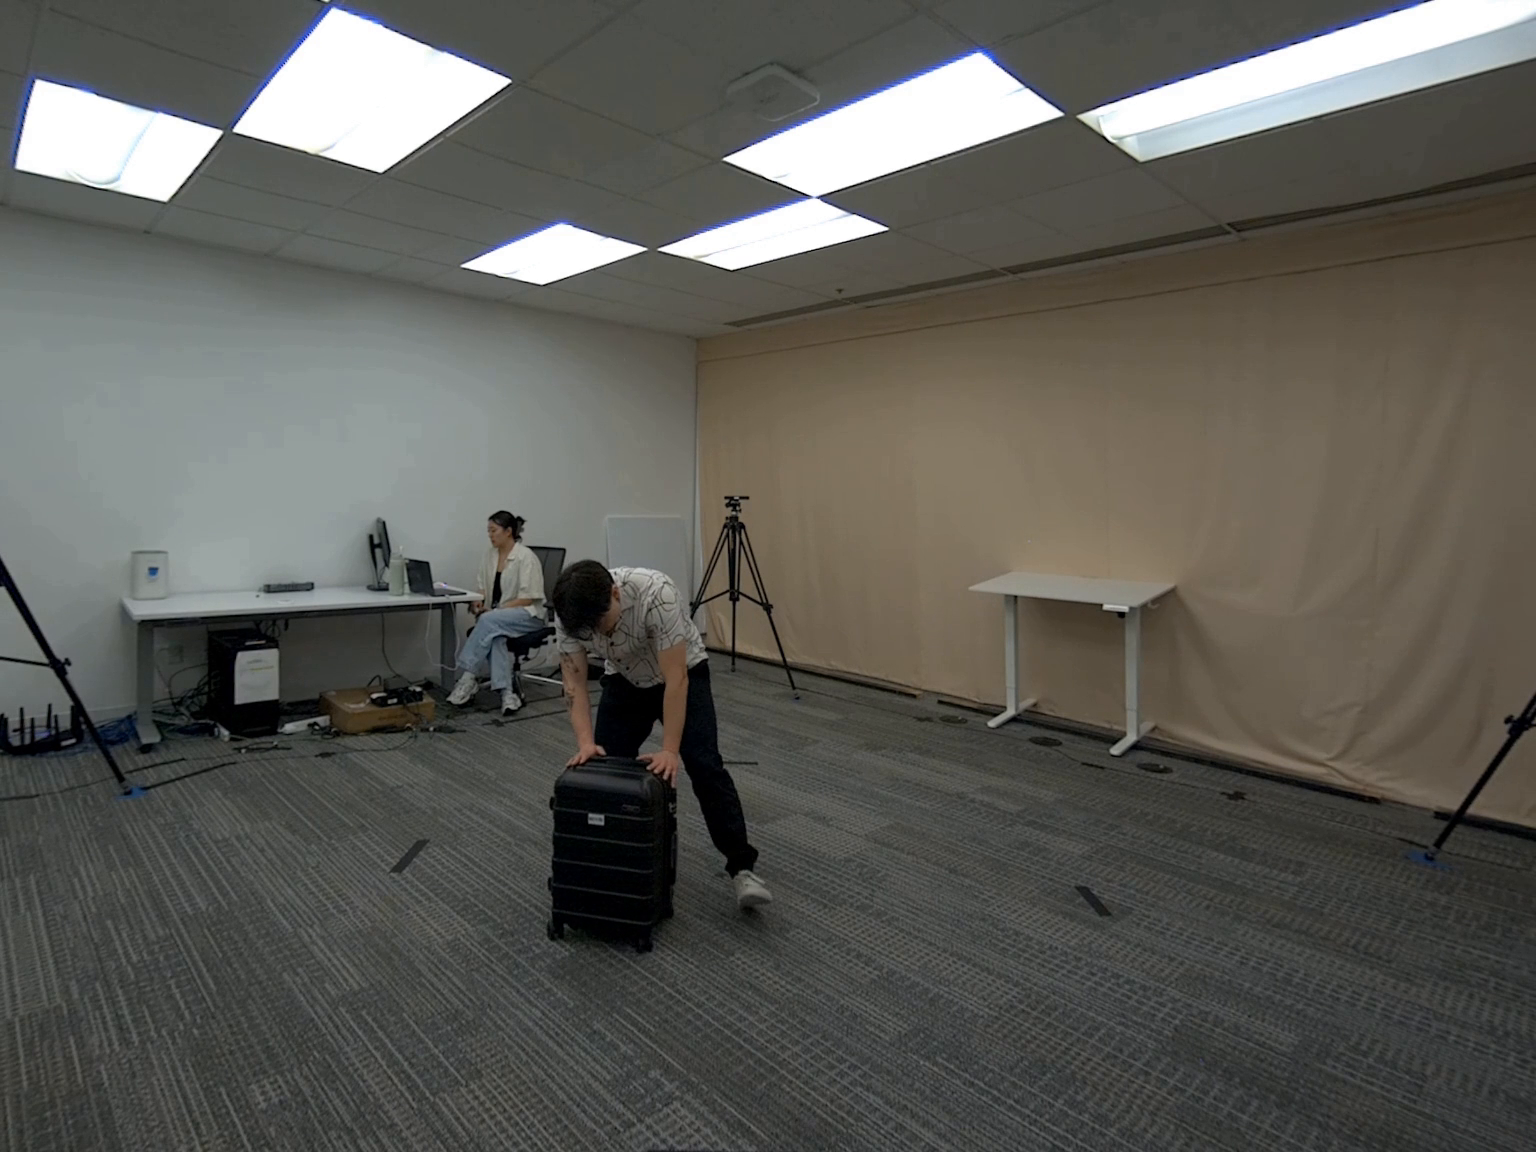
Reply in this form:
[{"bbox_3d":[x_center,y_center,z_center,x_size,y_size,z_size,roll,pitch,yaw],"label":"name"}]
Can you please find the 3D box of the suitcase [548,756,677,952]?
[{"bbox_3d":[-0.490,0.868,2.663,0.380,0.547,0.246,4,5,14],"label":"suitcase"}]
